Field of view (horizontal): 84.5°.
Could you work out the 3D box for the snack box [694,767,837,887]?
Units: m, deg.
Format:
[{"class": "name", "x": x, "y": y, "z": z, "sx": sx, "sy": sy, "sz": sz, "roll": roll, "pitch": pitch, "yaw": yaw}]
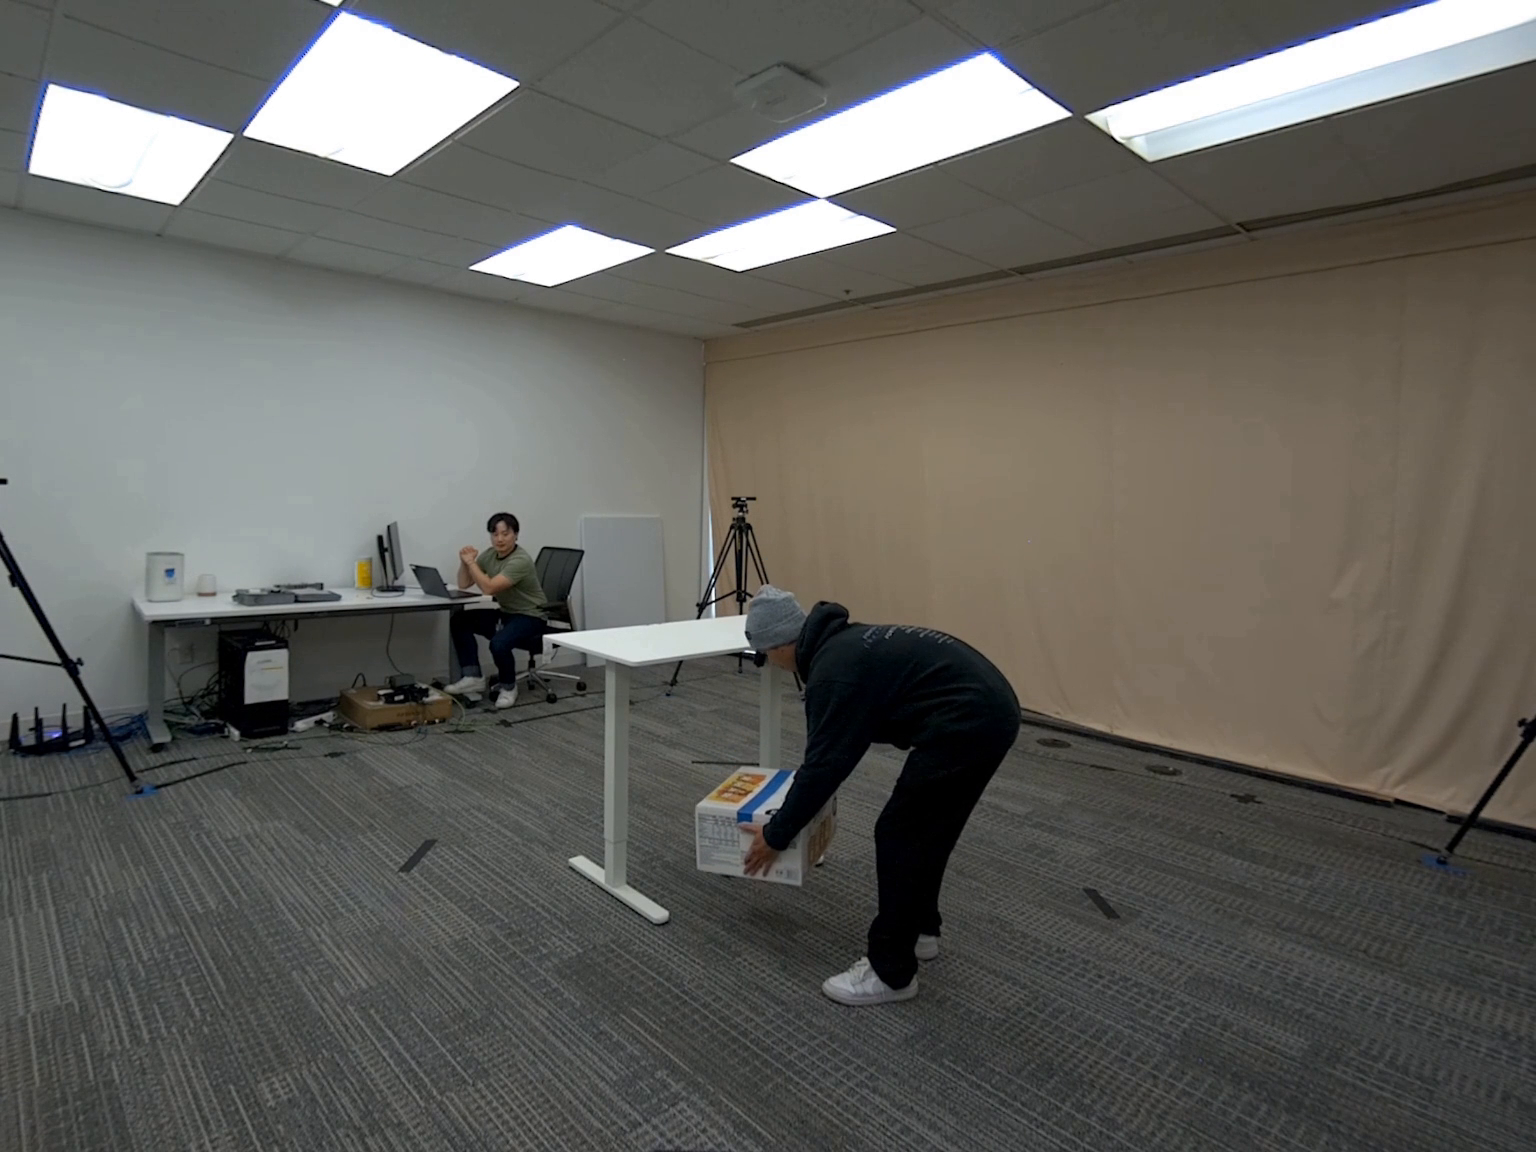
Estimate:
[{"class": "snack box", "x": 0.002, "y": 0.783, "z": 2.691, "sx": 0.346, "sy": 0.205, "sz": 0.400, "roll": 0, "pitch": 5, "yaw": 20}]
